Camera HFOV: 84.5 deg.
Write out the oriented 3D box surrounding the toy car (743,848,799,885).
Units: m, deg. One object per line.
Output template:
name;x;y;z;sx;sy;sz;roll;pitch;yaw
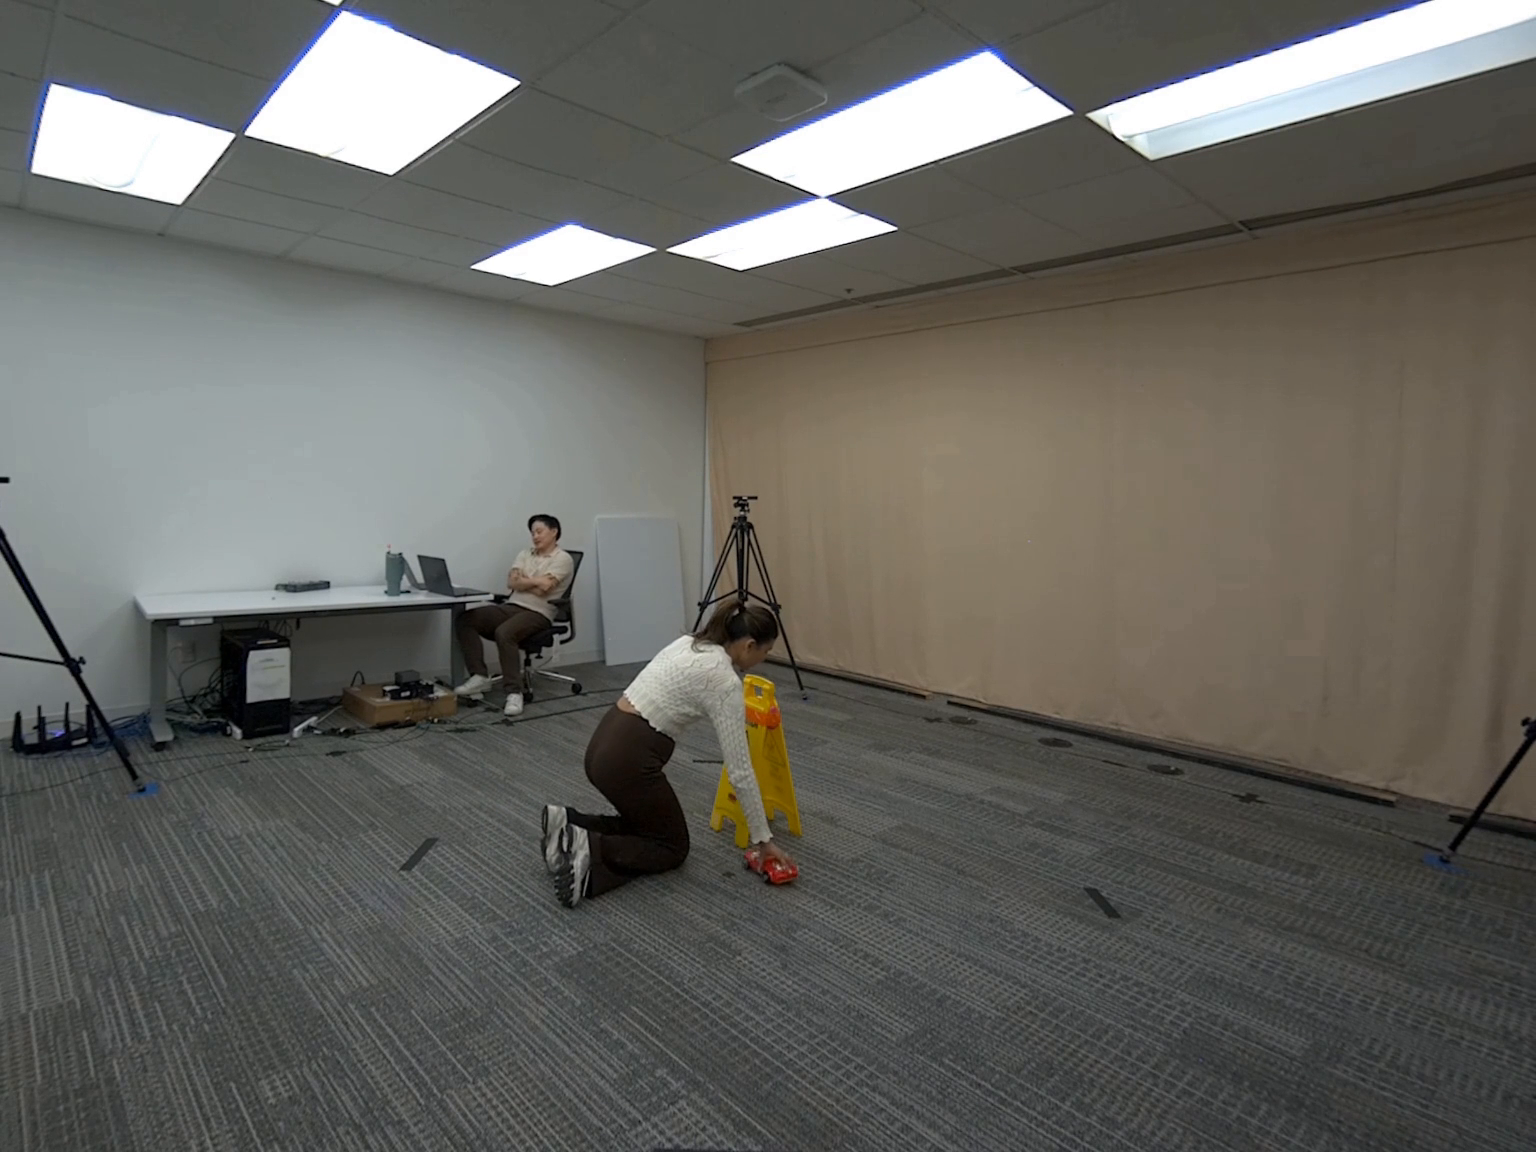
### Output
toy car;-0.007;1.074;3.101;0.127;0.083;0.259;2;-5;-31
